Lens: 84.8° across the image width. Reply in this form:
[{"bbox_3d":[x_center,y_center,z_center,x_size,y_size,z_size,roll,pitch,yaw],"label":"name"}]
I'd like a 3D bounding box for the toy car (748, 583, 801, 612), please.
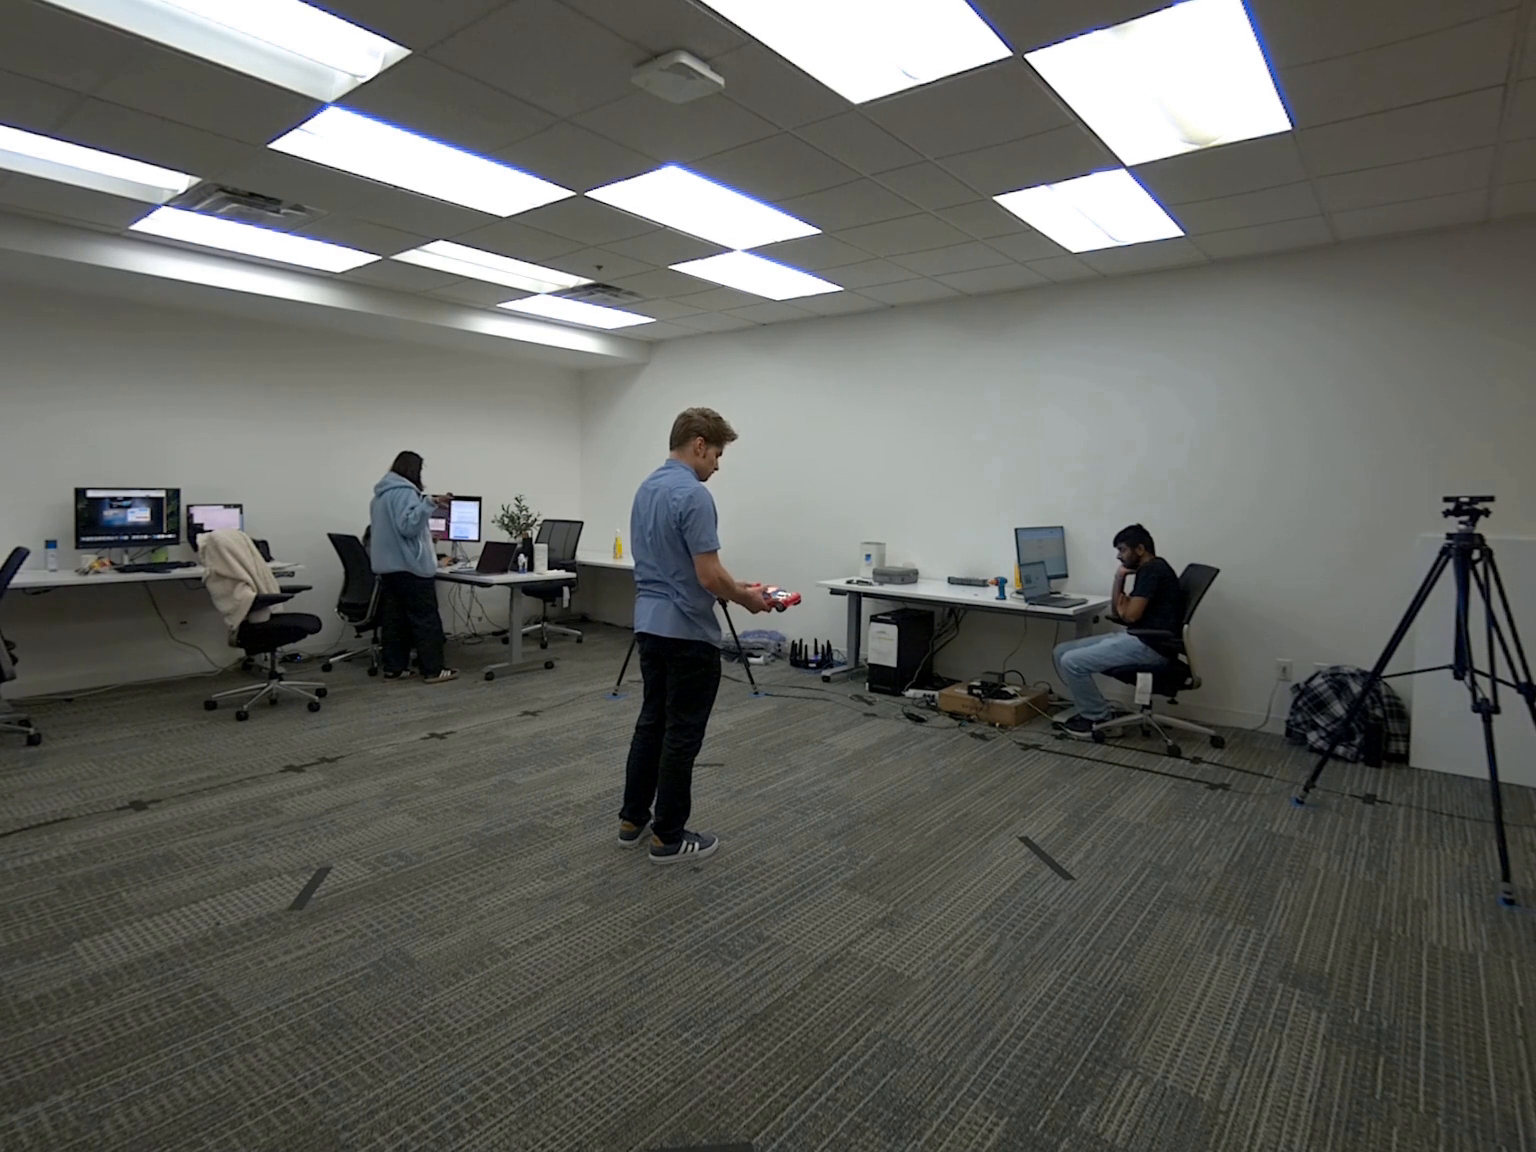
[{"bbox_3d":[0.002,0.087,3.300,0.264,0.082,0.127,15,23,42],"label":"toy car"}]
